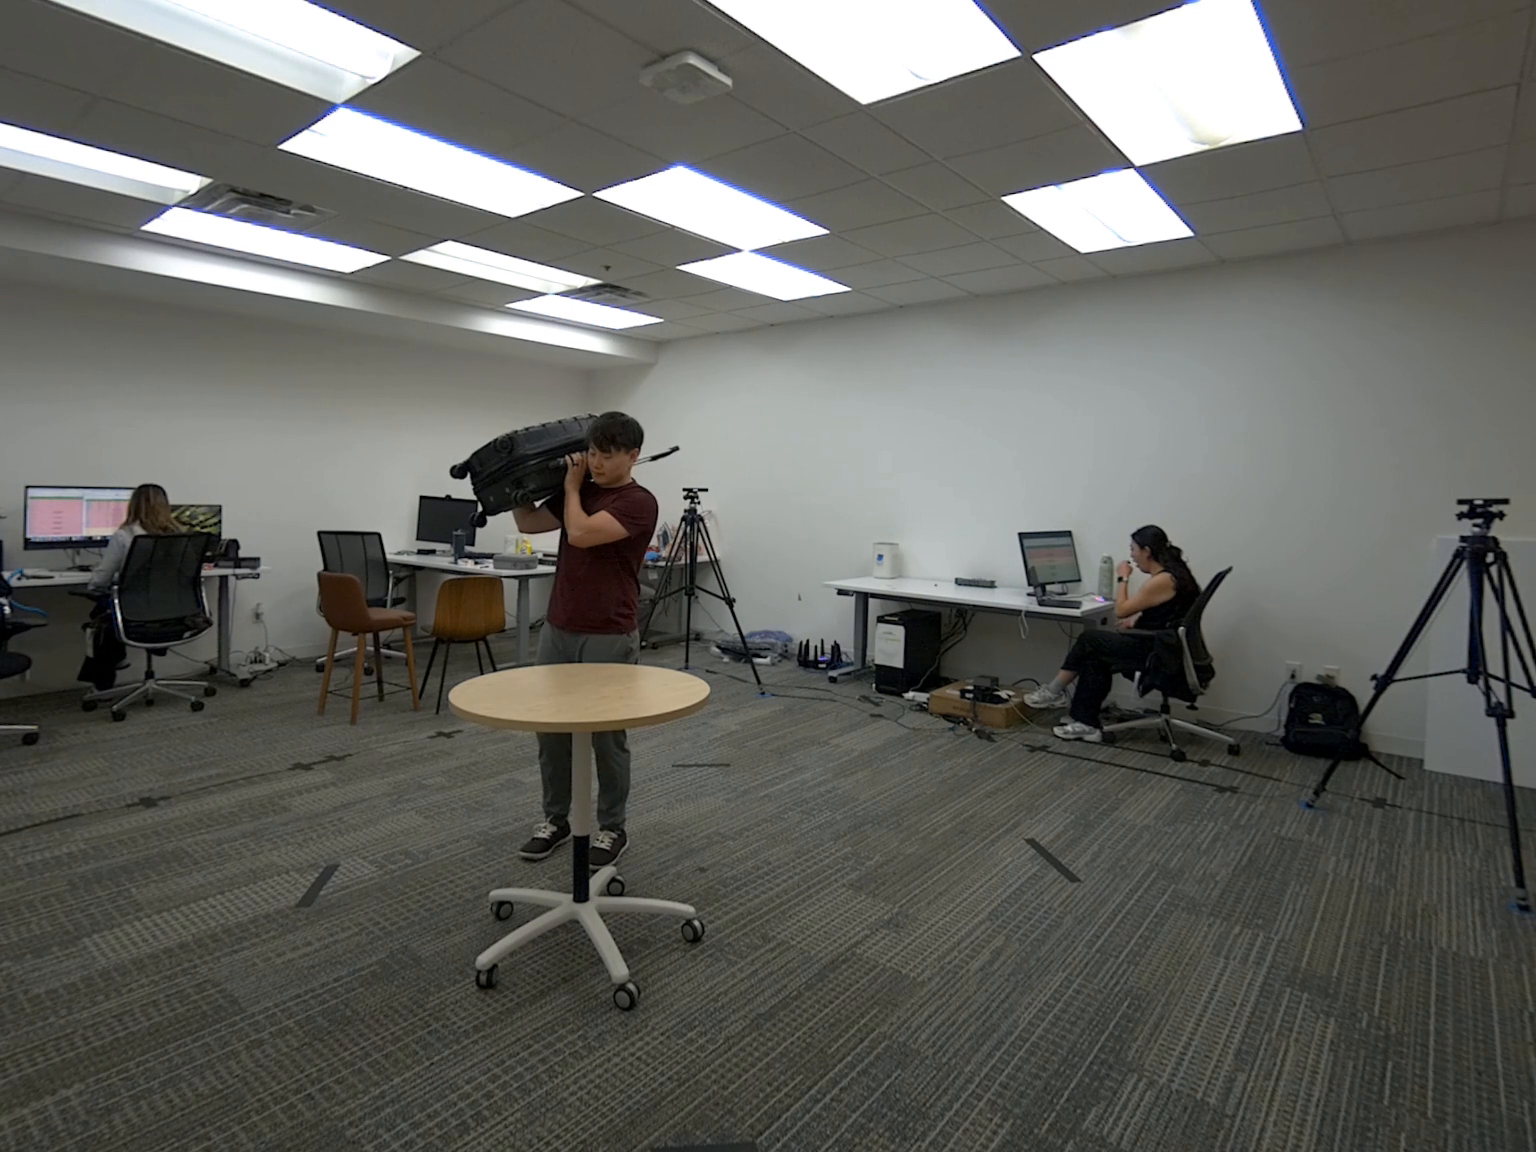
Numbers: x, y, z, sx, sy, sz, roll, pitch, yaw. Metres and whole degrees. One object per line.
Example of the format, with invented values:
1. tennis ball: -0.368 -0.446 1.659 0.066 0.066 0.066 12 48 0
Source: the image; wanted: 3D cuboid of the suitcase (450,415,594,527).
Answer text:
1. suitcase: -0.777 -0.506 3.414 0.391 0.255 0.965 -19 8 41
